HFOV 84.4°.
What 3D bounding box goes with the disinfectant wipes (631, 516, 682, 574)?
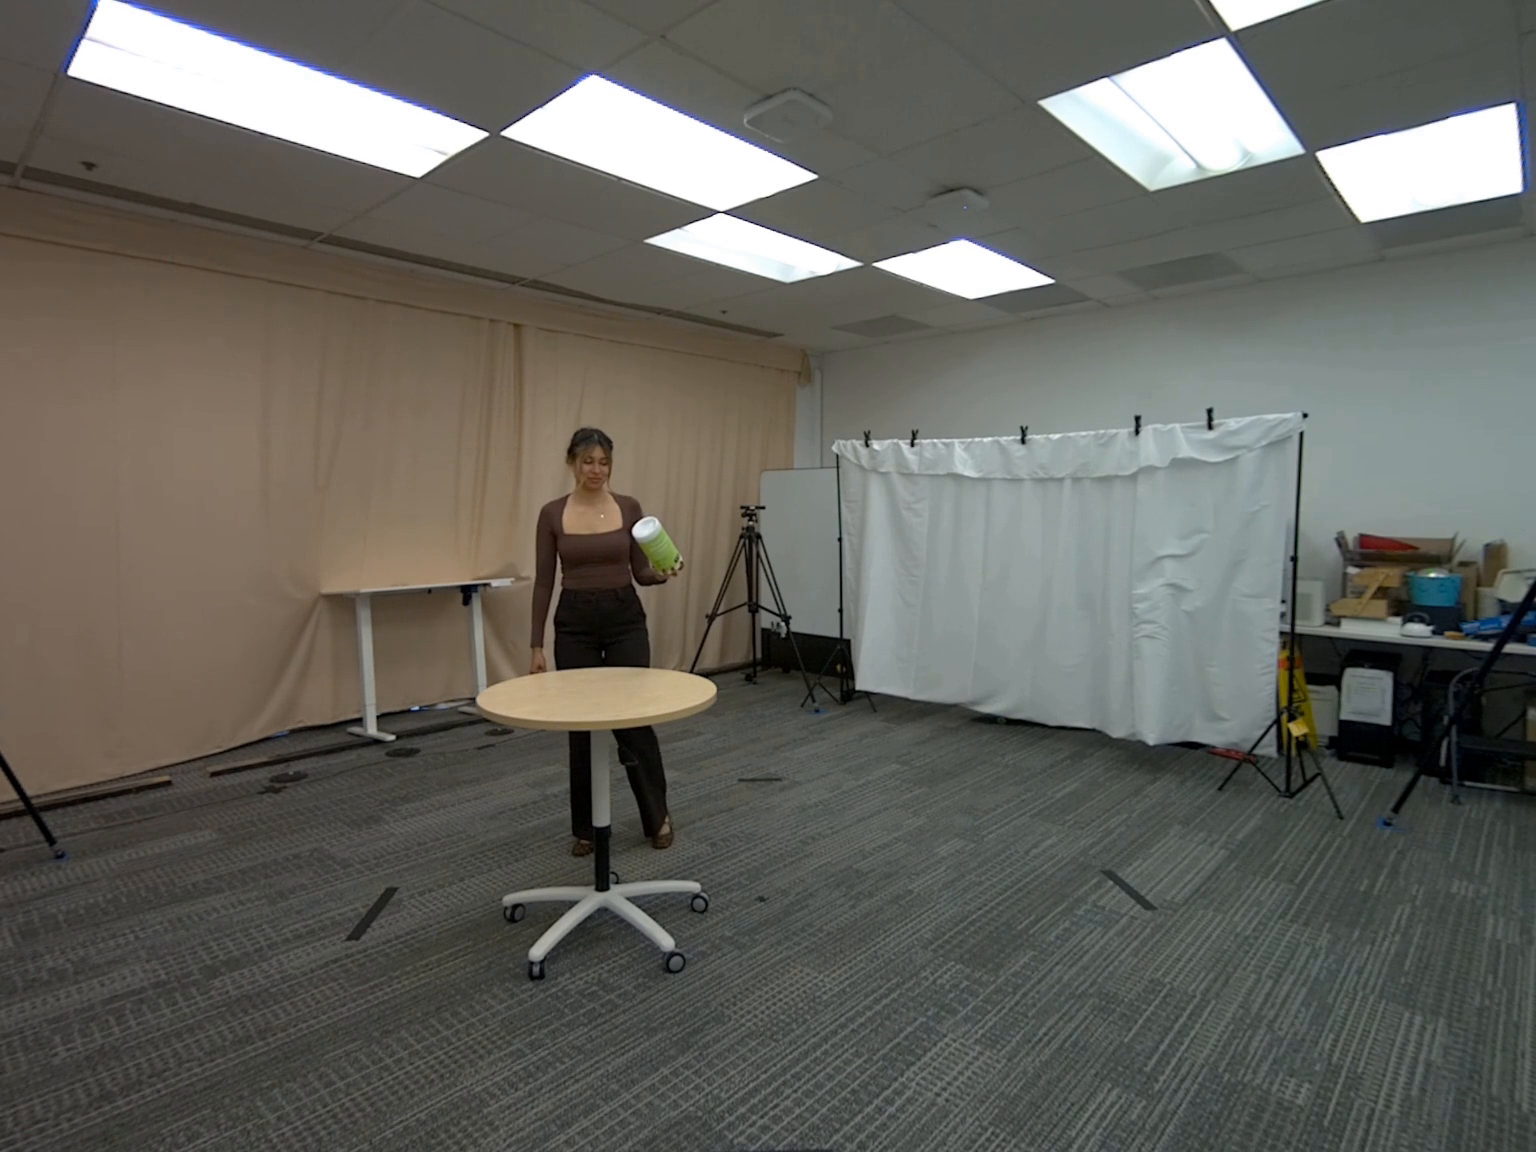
[{"bbox_3d":[-0.412,-0.110,3.135,0.119,0.211,0.120,-16,42,13],"label":"disinfectant wipes"}]
